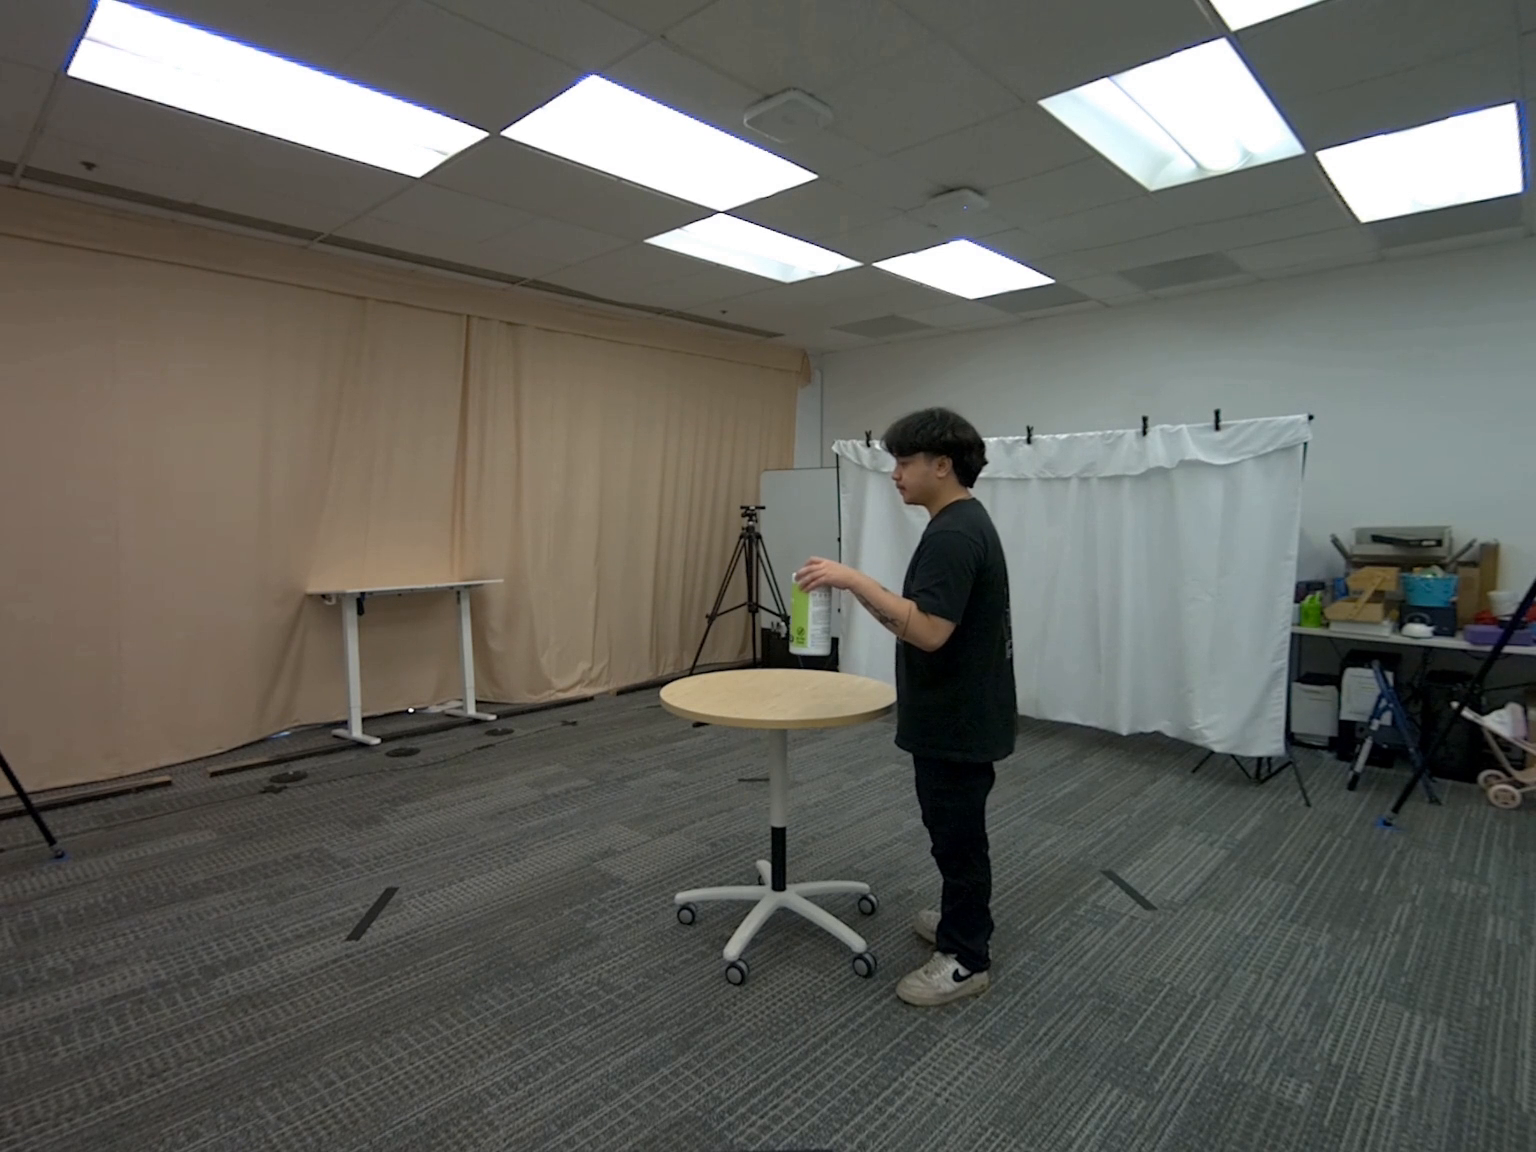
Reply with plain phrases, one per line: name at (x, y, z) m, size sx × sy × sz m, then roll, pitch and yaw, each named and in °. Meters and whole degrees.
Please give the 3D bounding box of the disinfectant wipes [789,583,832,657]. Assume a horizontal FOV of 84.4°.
disinfectant wipes at (0.129, 0.104, 2.262) m, size 0.118 × 0.217 × 0.118 m, roll 2°, pitch -1°, yaw -2°
